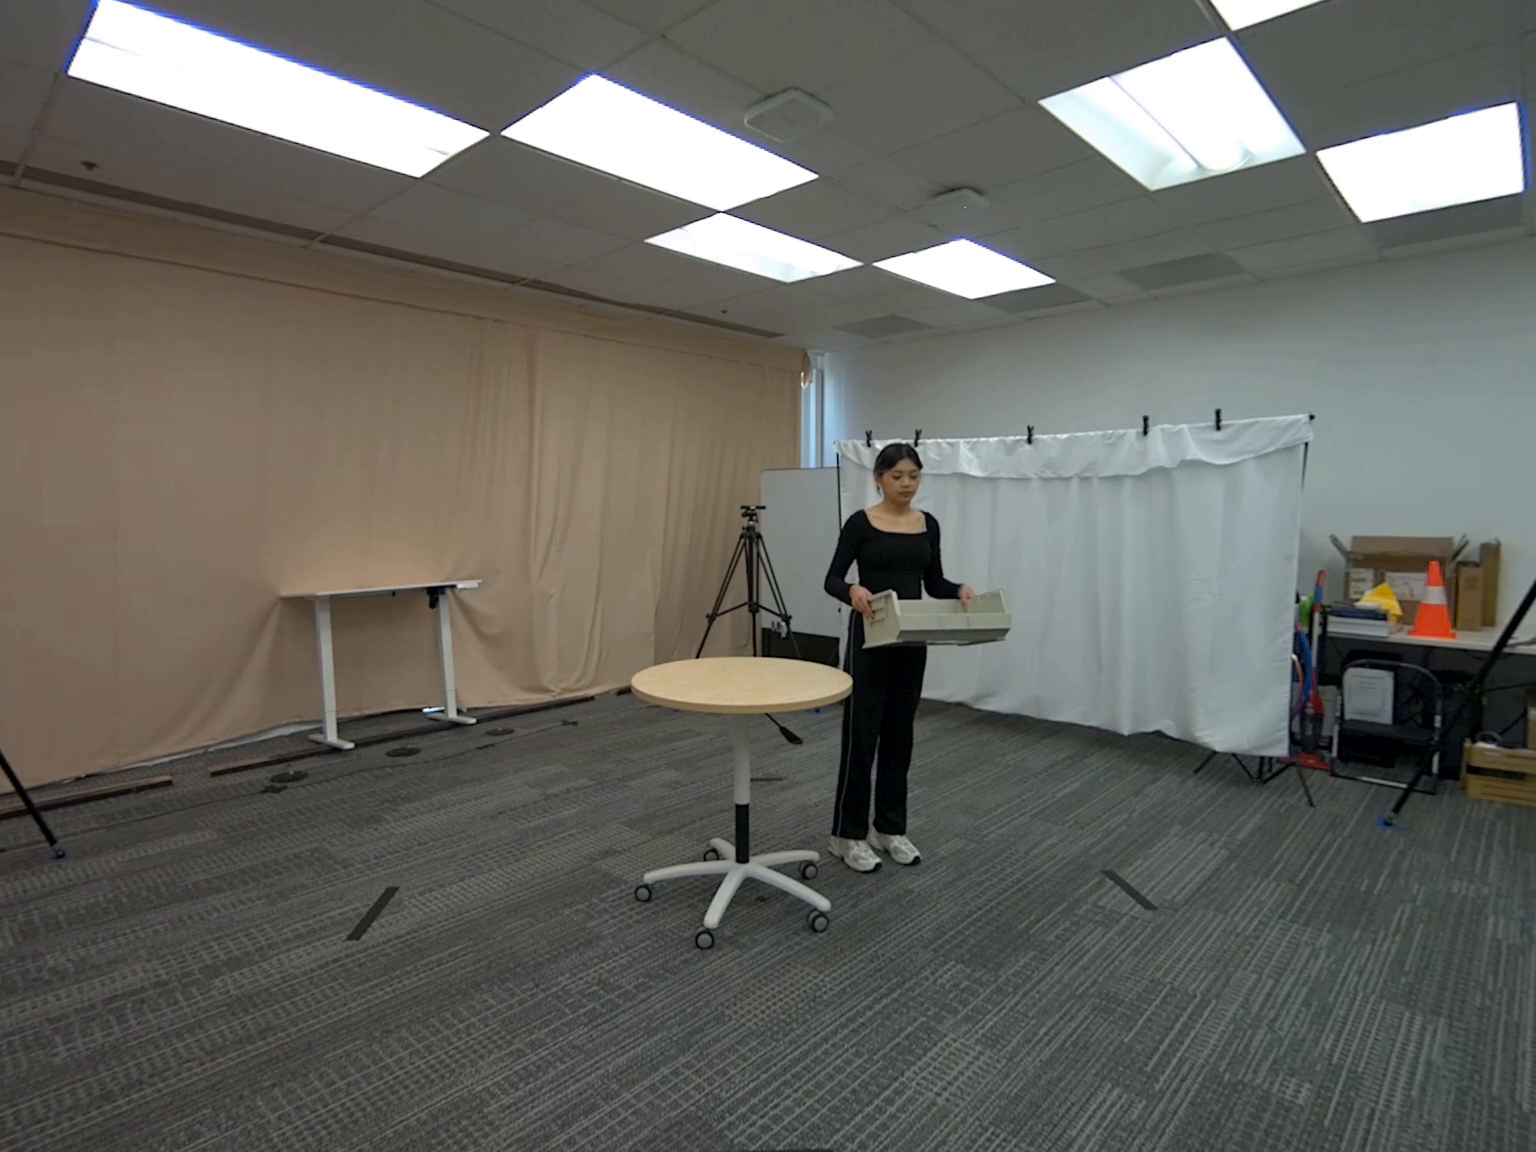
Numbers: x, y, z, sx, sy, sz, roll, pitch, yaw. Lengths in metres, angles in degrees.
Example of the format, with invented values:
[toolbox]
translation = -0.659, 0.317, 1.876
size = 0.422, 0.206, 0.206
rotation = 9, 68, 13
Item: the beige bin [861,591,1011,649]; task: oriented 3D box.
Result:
[beige bin]
translation = 0.588, 0.160, 3.027
size = 0.417, 0.190, 0.380
rotation = 0, -9, -13
